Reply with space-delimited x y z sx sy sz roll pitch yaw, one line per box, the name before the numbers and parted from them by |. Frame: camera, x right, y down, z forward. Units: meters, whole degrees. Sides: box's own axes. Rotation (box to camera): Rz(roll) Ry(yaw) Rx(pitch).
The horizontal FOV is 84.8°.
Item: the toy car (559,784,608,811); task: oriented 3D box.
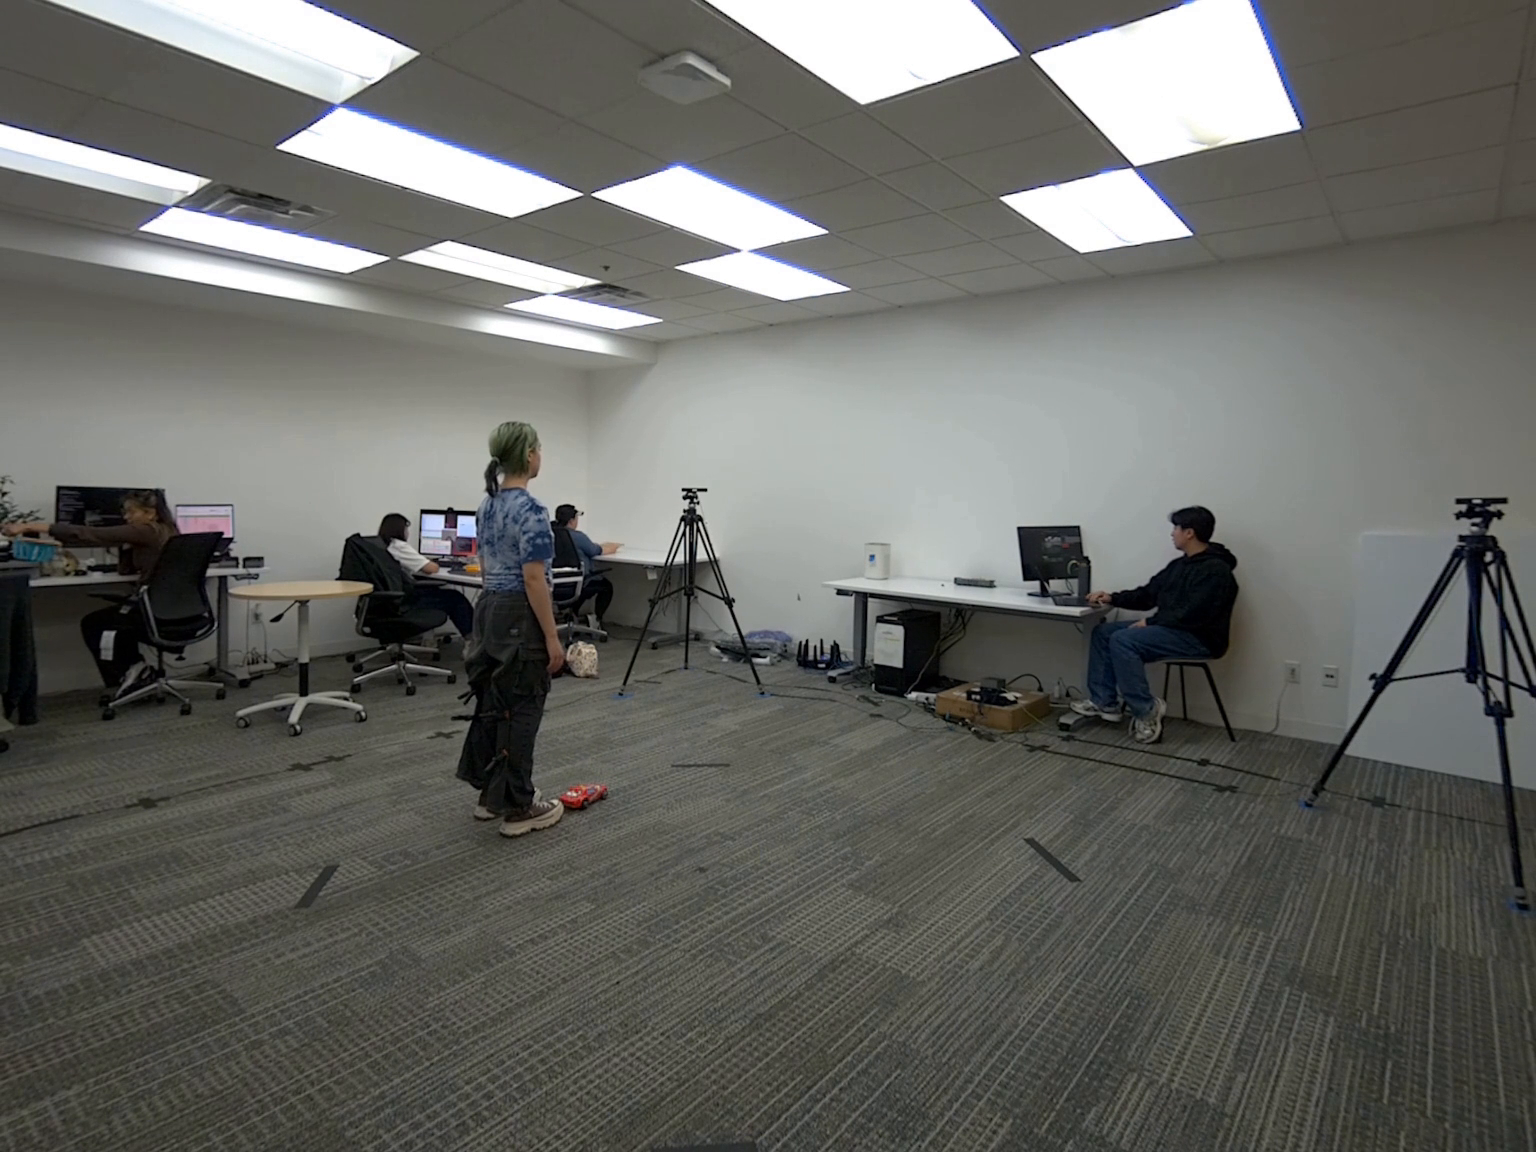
toy car | -0.832 0.971 3.745 0.134 0.083 0.246 4 -5 27
